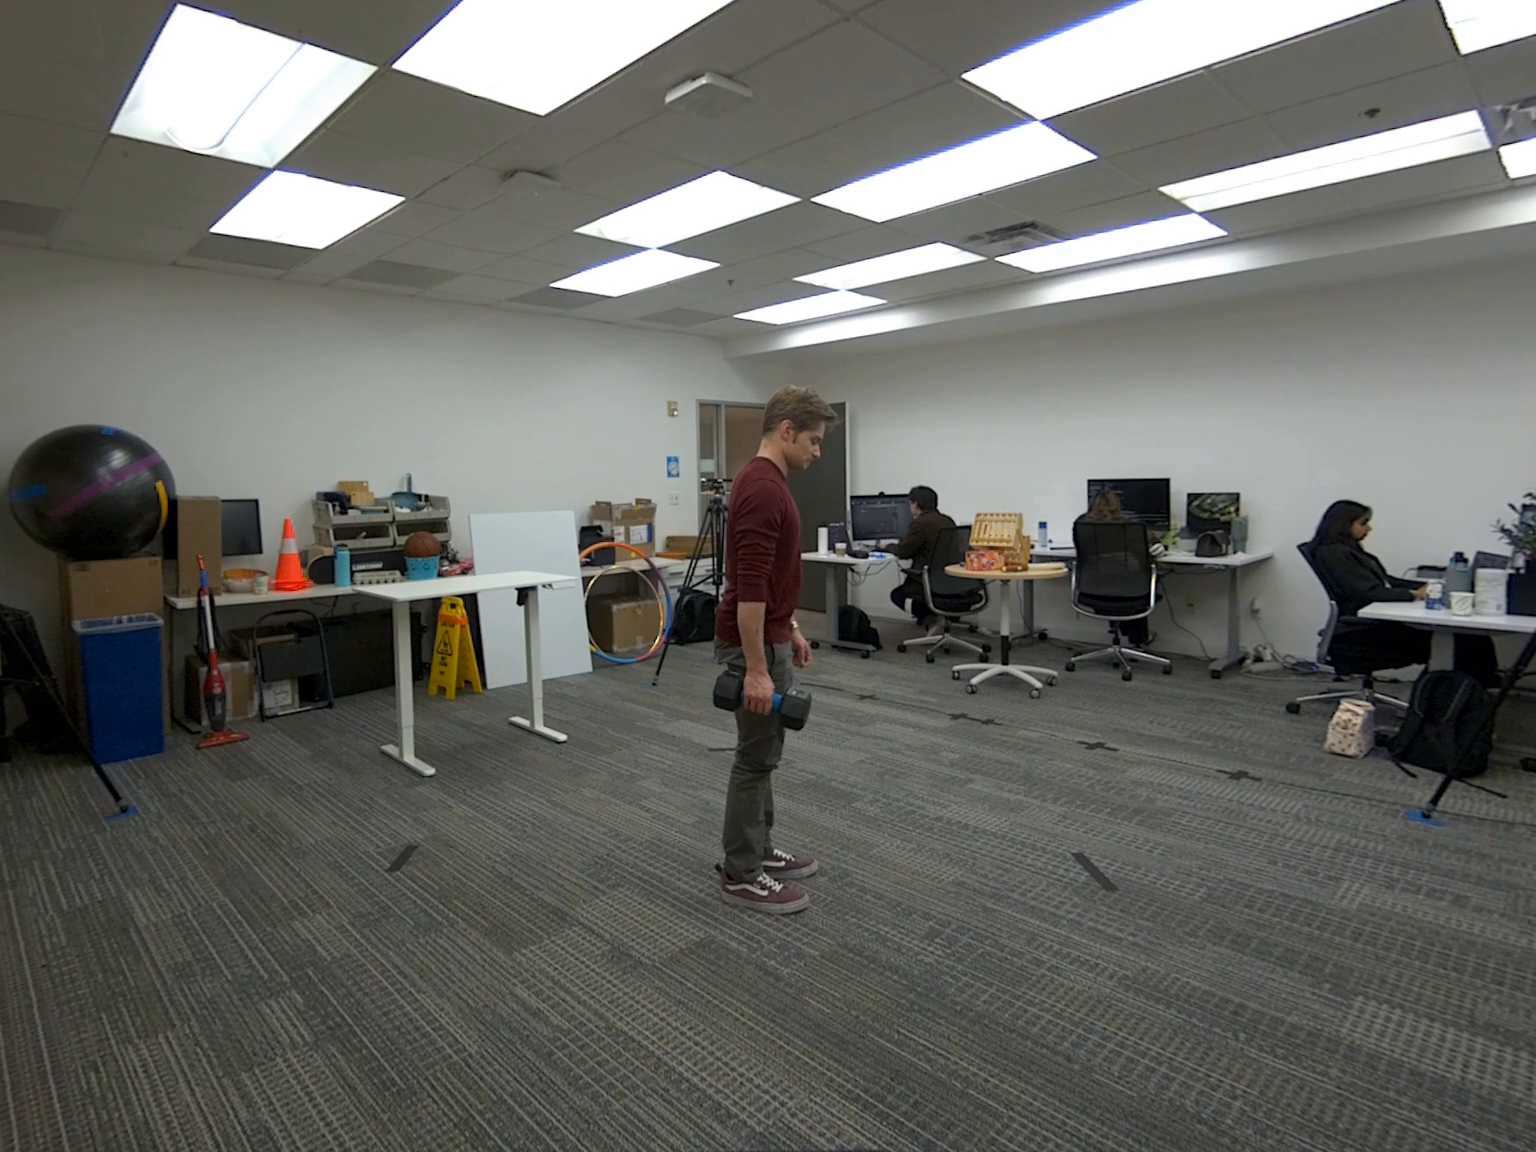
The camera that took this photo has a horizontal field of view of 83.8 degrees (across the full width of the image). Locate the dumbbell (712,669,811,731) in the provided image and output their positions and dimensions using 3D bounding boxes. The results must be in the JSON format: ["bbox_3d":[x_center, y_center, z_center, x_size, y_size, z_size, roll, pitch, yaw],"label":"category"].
[{"bbox_3d":[-0.008,0.377,2.635,0.298,0.124,0.106,10,-20,12],"label":"dumbbell"}]
